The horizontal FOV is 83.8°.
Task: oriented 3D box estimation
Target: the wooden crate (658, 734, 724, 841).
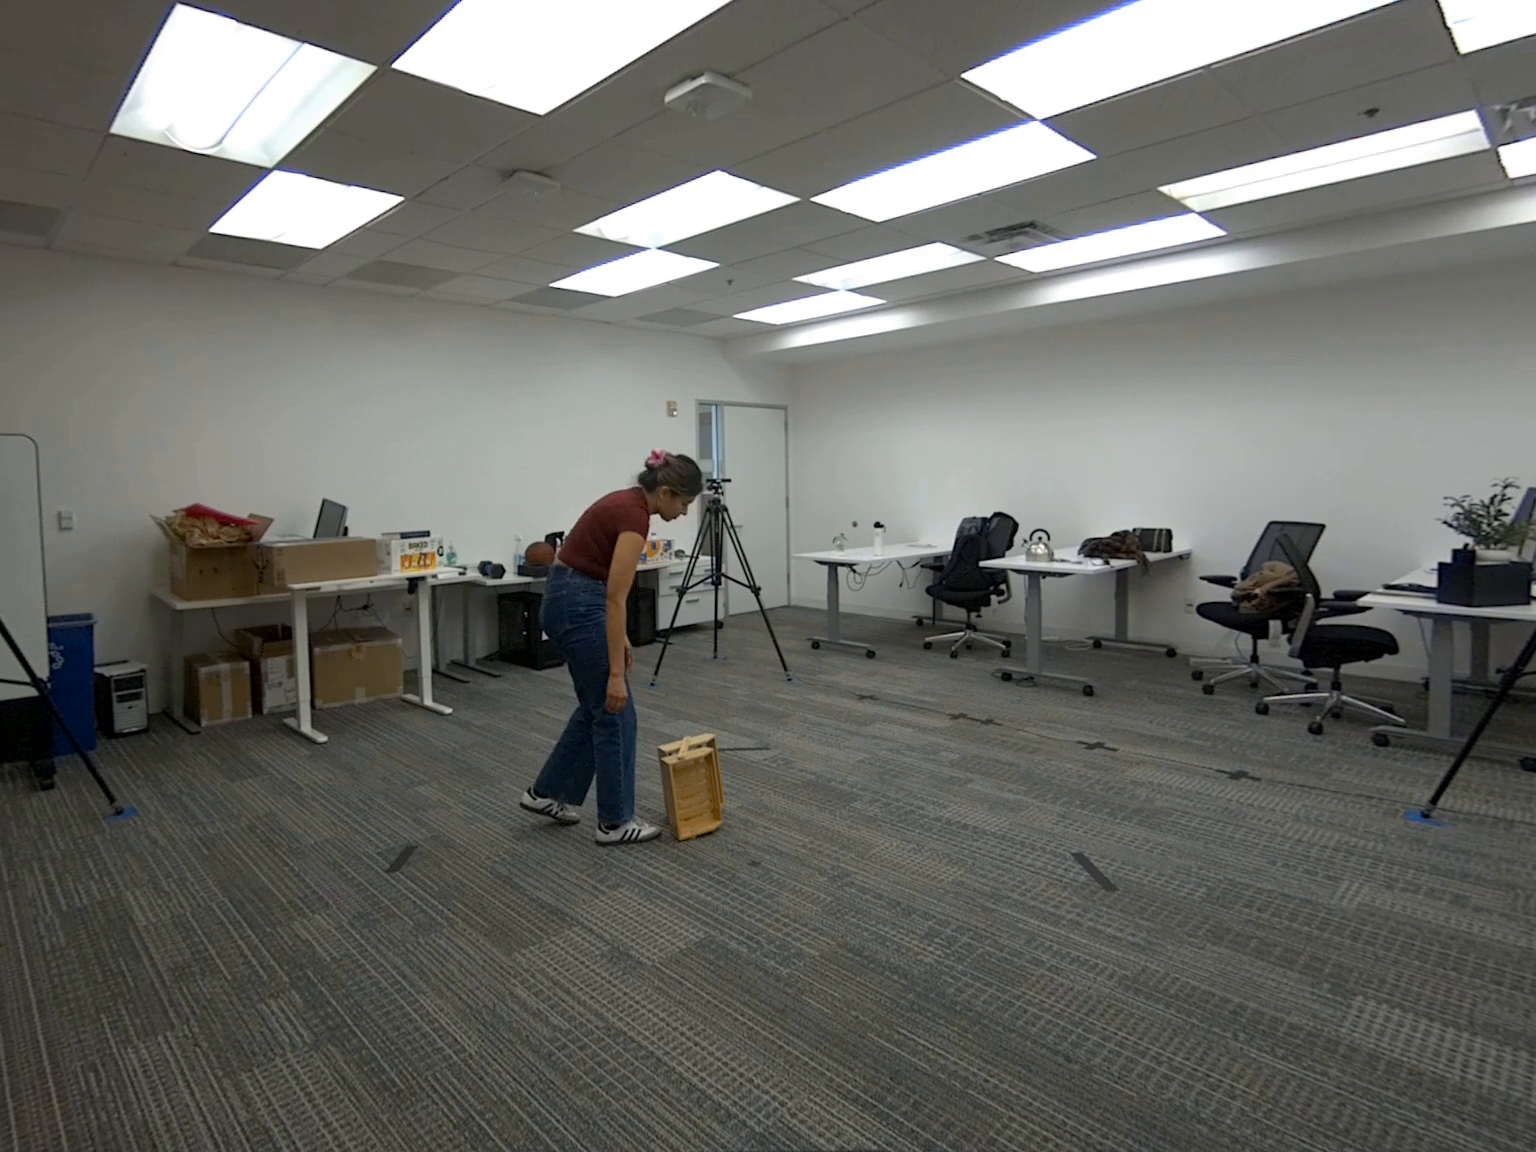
[{"bbox_3d":[-0.290,0.840,3.458,0.296,0.323,0.280,-9,4,-27],"label":"wooden crate"}]
